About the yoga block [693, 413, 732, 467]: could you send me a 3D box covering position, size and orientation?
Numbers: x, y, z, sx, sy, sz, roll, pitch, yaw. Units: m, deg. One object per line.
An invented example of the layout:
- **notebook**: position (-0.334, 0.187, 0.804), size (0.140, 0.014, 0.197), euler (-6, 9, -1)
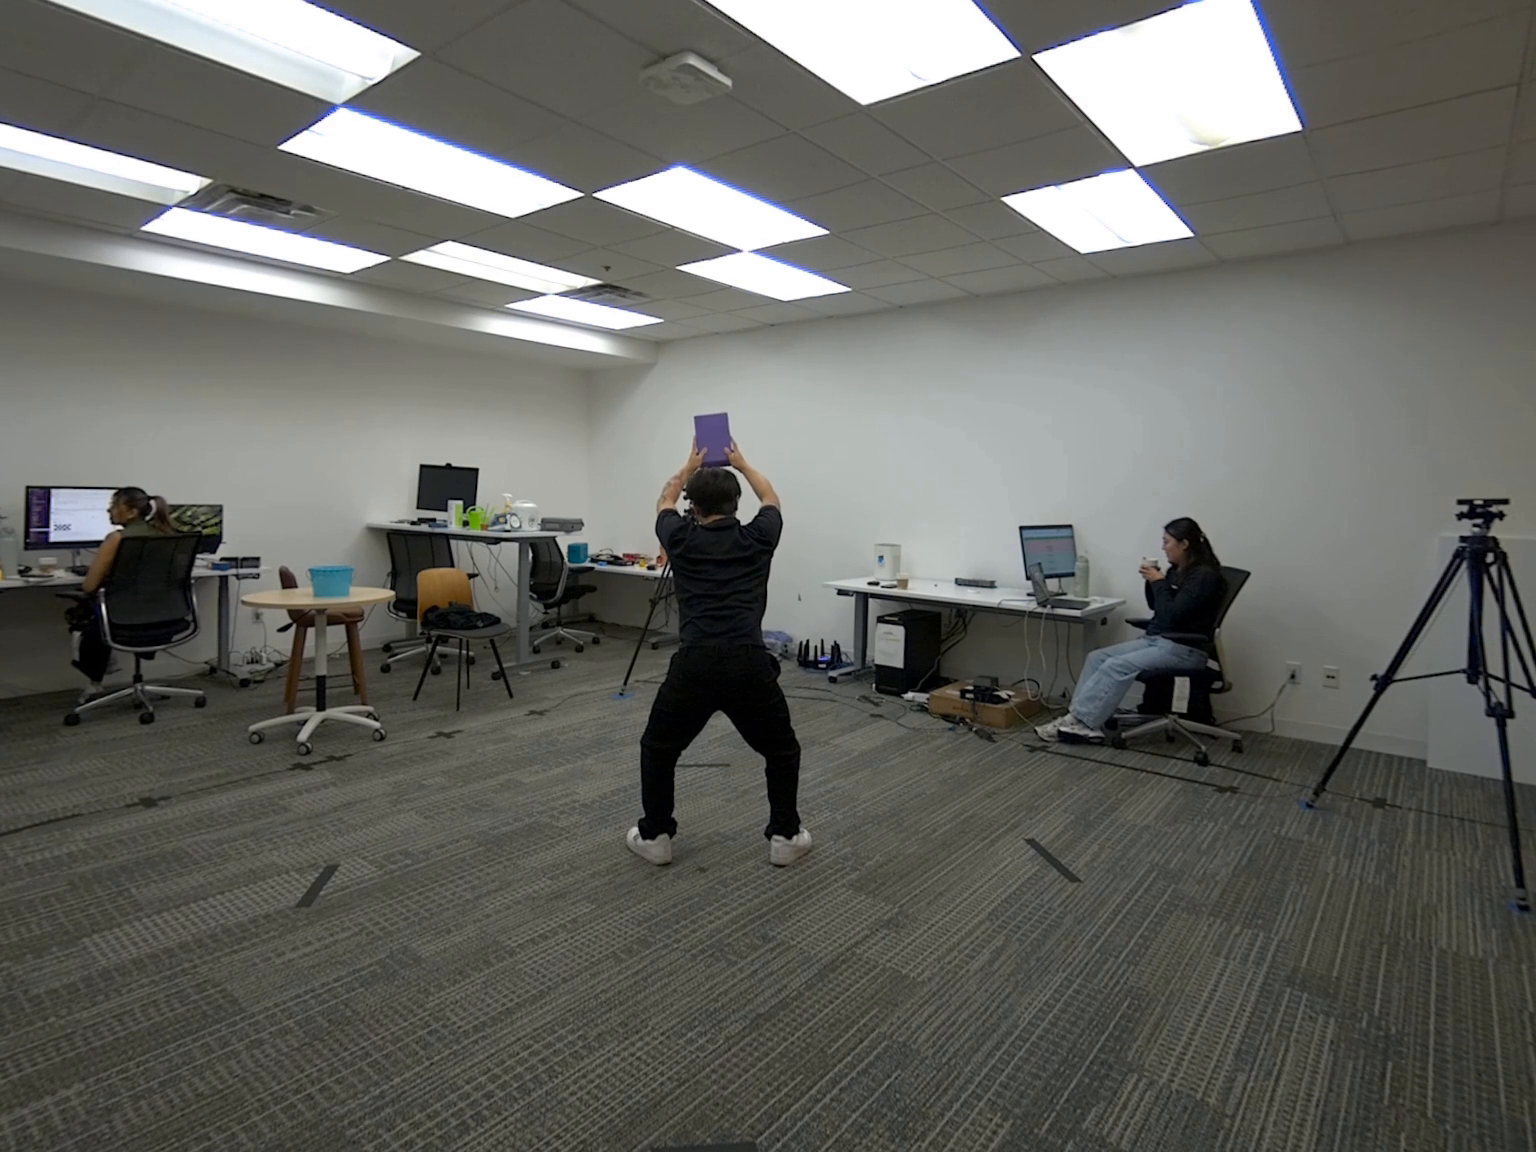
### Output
- **yoga block**: position (-0.248, -0.588, 3.687), size (0.149, 0.233, 0.075), euler (-7, -14, 1)
